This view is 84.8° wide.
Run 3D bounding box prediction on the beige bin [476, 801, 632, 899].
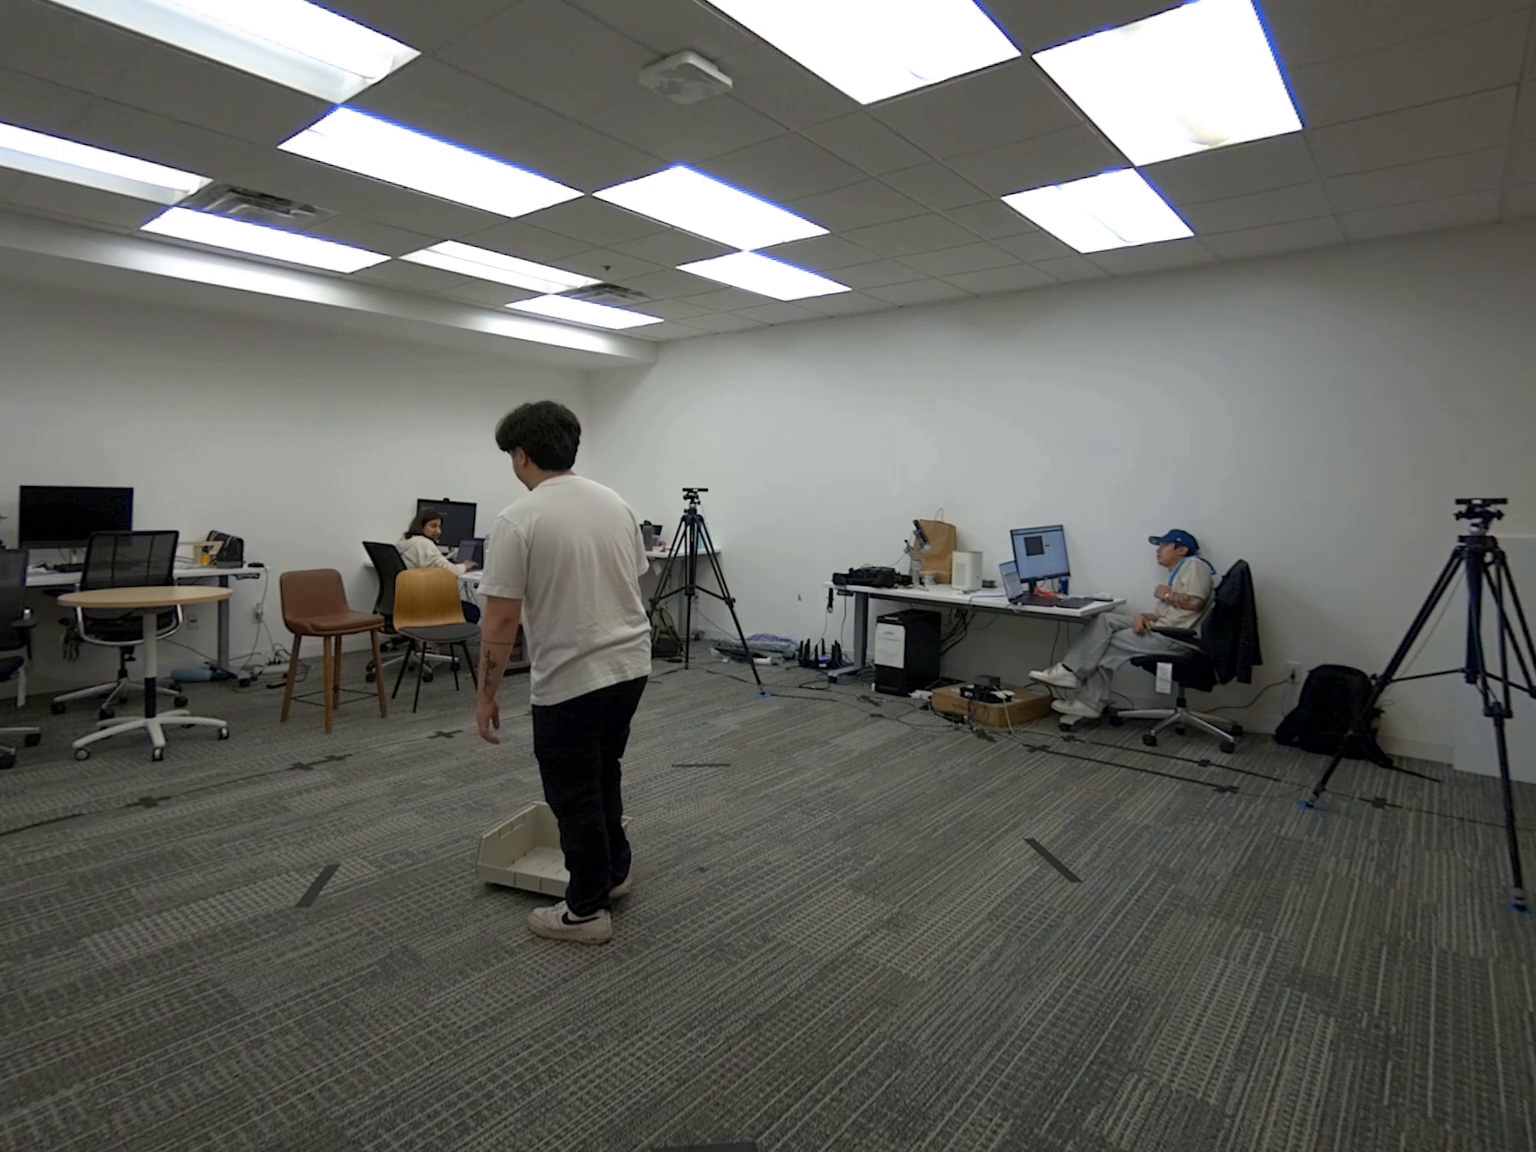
[{"bbox_3d":[-0.764,0.976,3.016,0.431,0.188,0.370,2,4,19],"label":"beige bin"}]
